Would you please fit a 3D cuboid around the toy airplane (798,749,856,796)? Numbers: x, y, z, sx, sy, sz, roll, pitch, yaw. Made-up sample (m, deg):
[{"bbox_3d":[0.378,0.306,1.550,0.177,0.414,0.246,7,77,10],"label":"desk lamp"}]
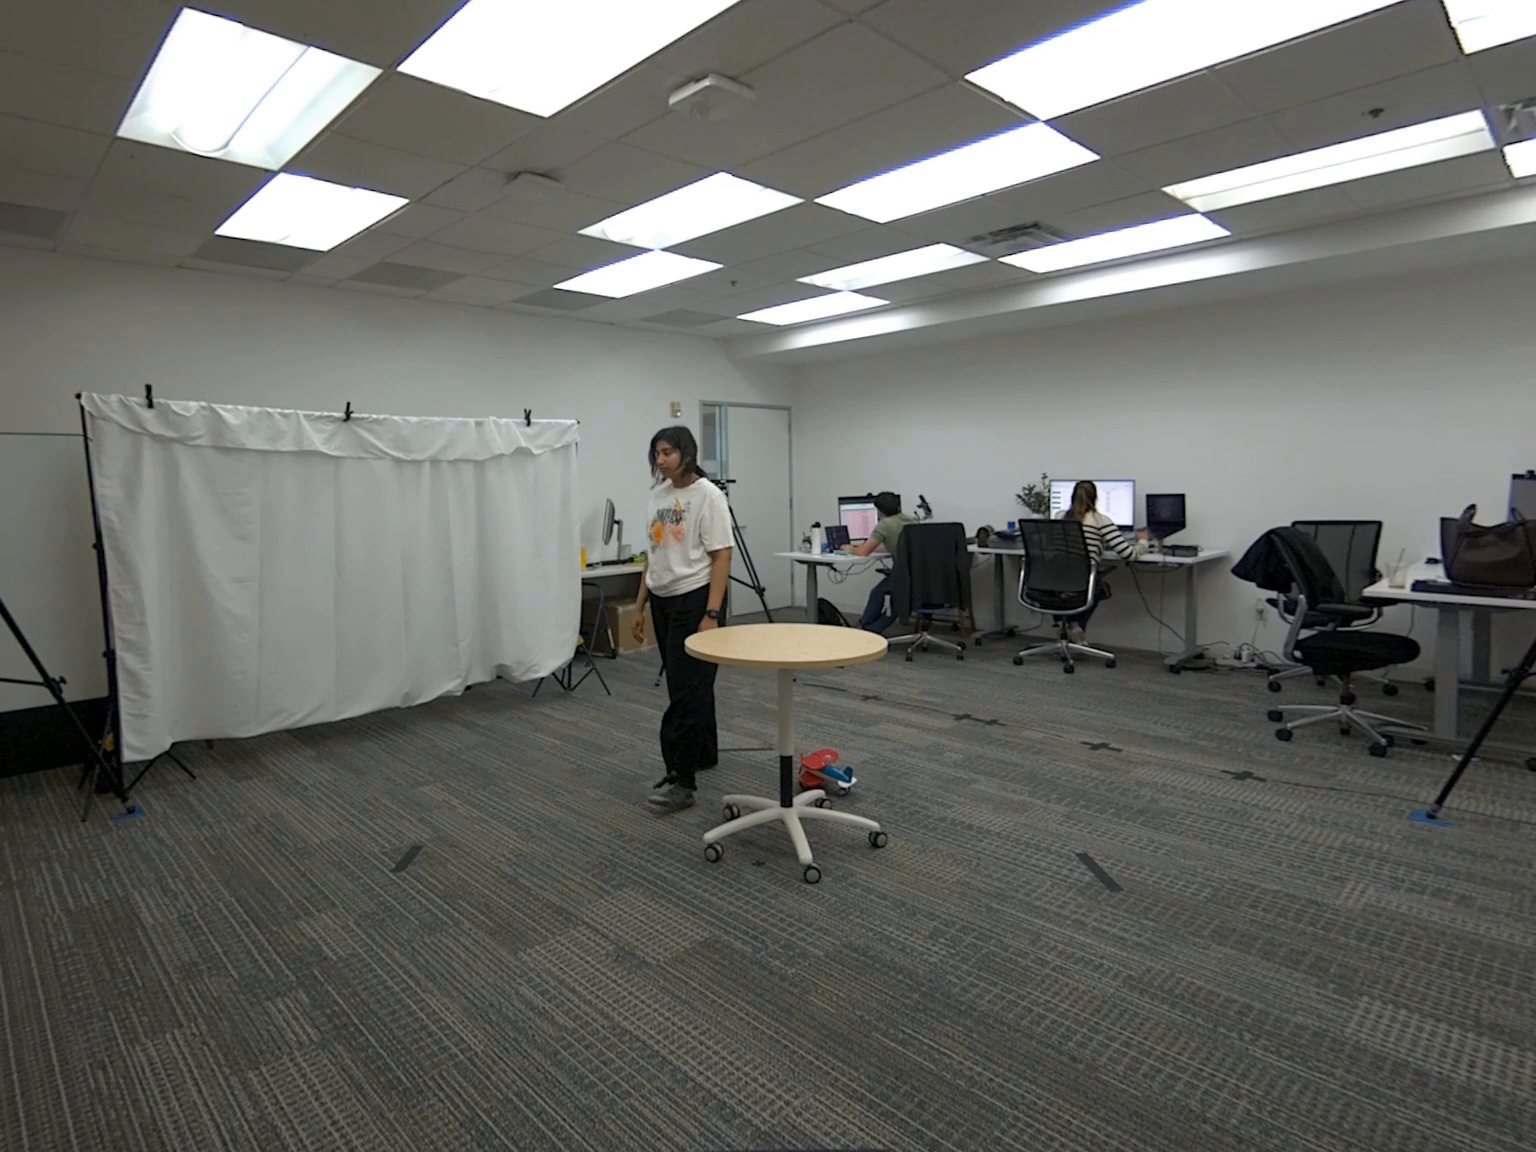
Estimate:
[{"bbox_3d":[0.265,0.877,3.845,0.261,0.156,0.250,0,5,8],"label":"toy airplane"}]
